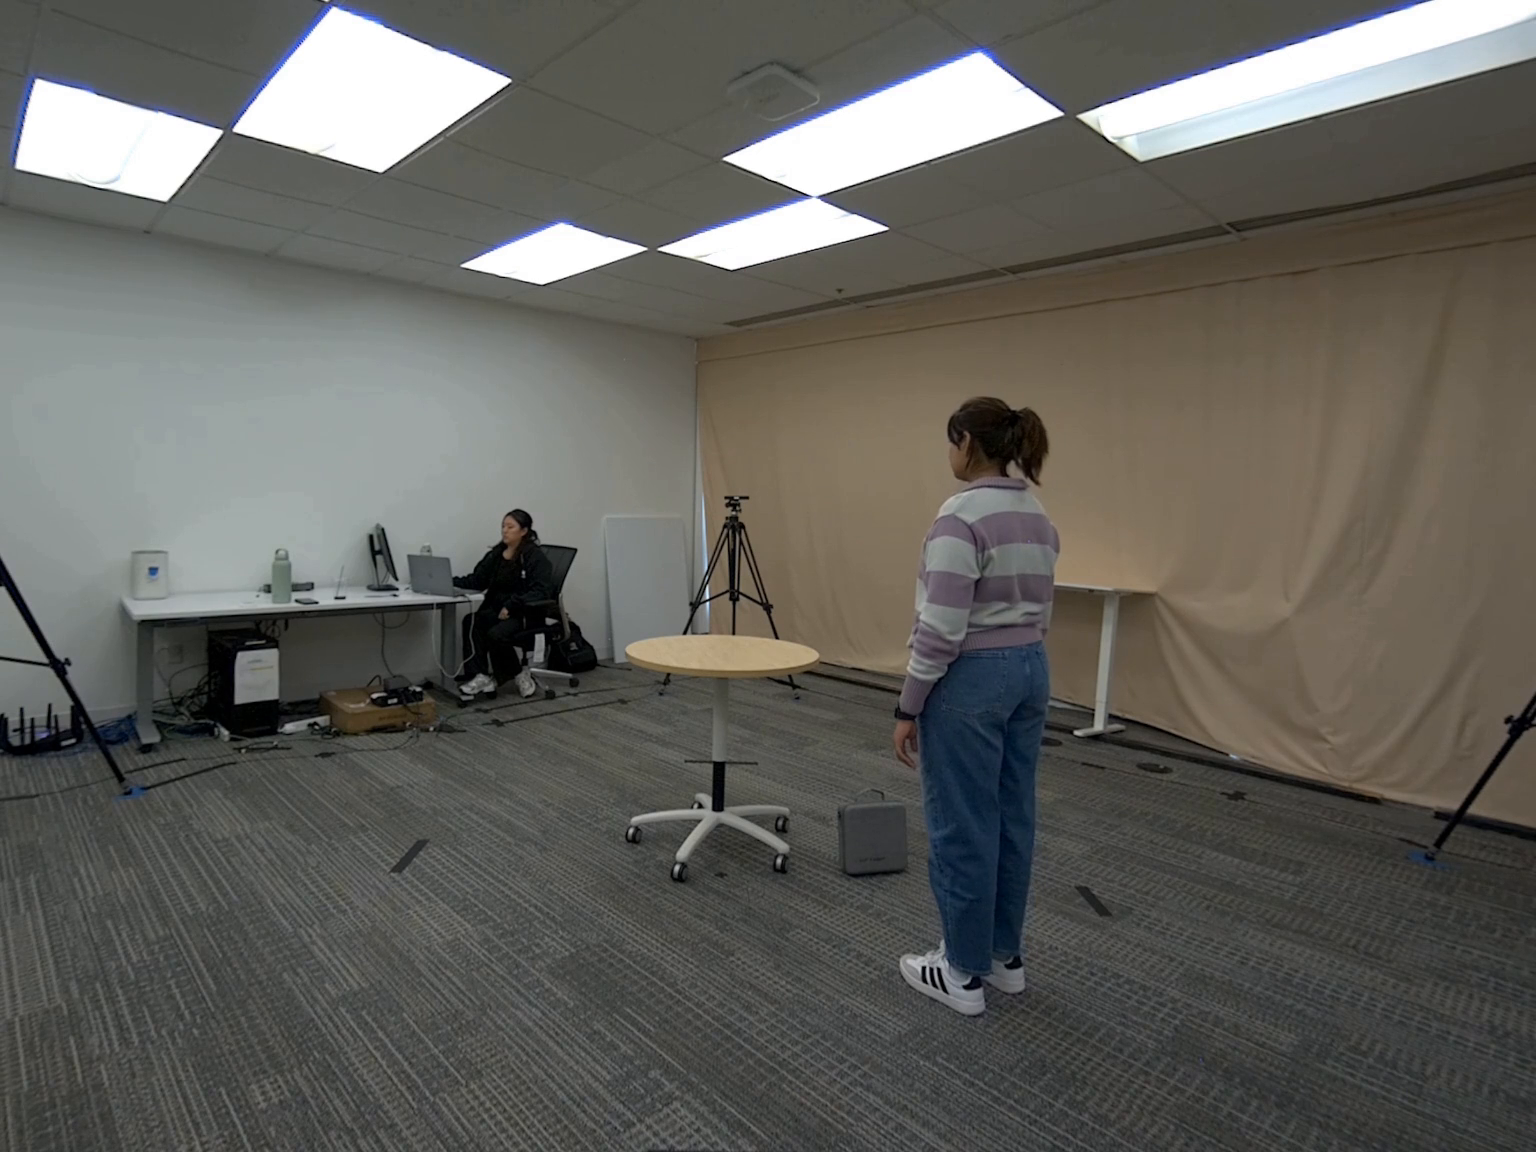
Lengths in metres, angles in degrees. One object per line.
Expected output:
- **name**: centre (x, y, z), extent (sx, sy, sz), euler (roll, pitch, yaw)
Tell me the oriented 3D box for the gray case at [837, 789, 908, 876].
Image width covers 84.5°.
- **gray case**: centre (0.386, 0.974, 3.178), extent (0.254, 0.261, 0.105), euler (0, -5, -16)
